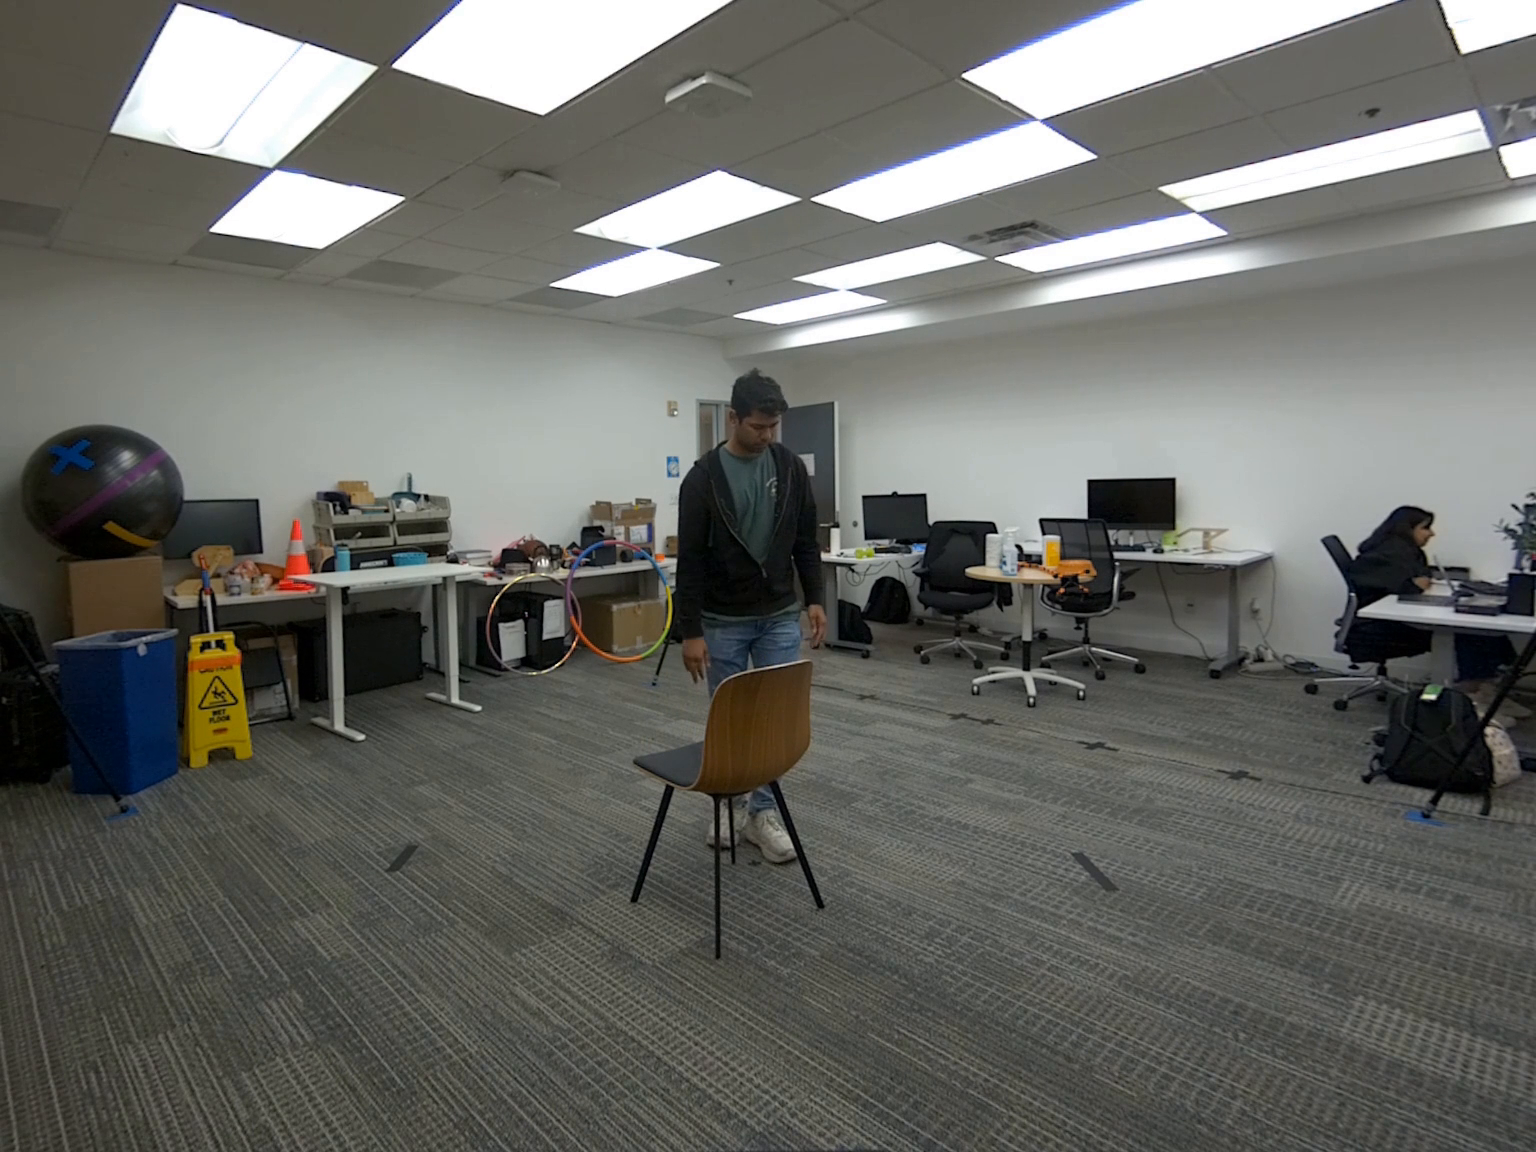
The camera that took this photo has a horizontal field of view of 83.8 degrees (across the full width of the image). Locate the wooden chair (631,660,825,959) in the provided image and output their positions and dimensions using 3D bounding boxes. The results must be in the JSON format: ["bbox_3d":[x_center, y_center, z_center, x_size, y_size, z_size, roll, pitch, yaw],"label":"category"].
[{"bbox_3d":[-0.144,0.660,2.776,0.466,0.871,0.540,-5,10,-41],"label":"wooden chair"}]
